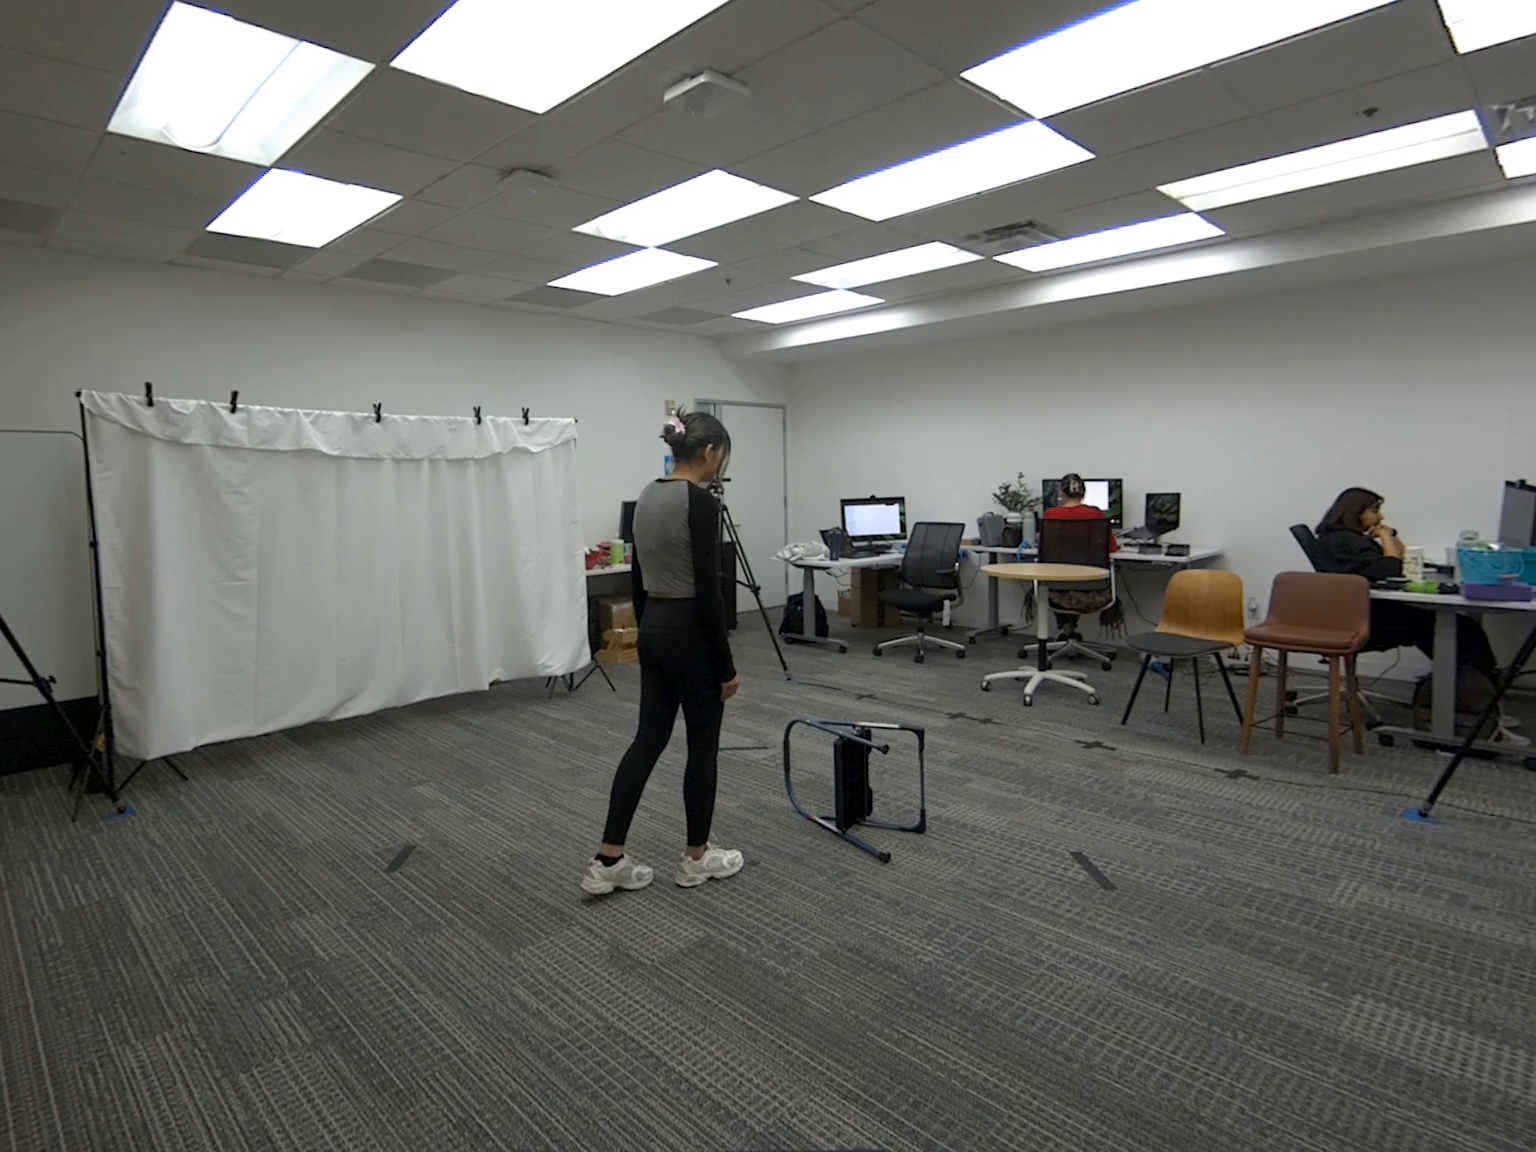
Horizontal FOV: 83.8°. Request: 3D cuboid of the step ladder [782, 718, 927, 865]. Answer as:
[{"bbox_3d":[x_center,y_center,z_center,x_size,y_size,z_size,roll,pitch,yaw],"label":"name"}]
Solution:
[{"bbox_3d":[0.282,0.798,3.386,0.624,0.430,0.340,2,4,38],"label":"step ladder"}]
